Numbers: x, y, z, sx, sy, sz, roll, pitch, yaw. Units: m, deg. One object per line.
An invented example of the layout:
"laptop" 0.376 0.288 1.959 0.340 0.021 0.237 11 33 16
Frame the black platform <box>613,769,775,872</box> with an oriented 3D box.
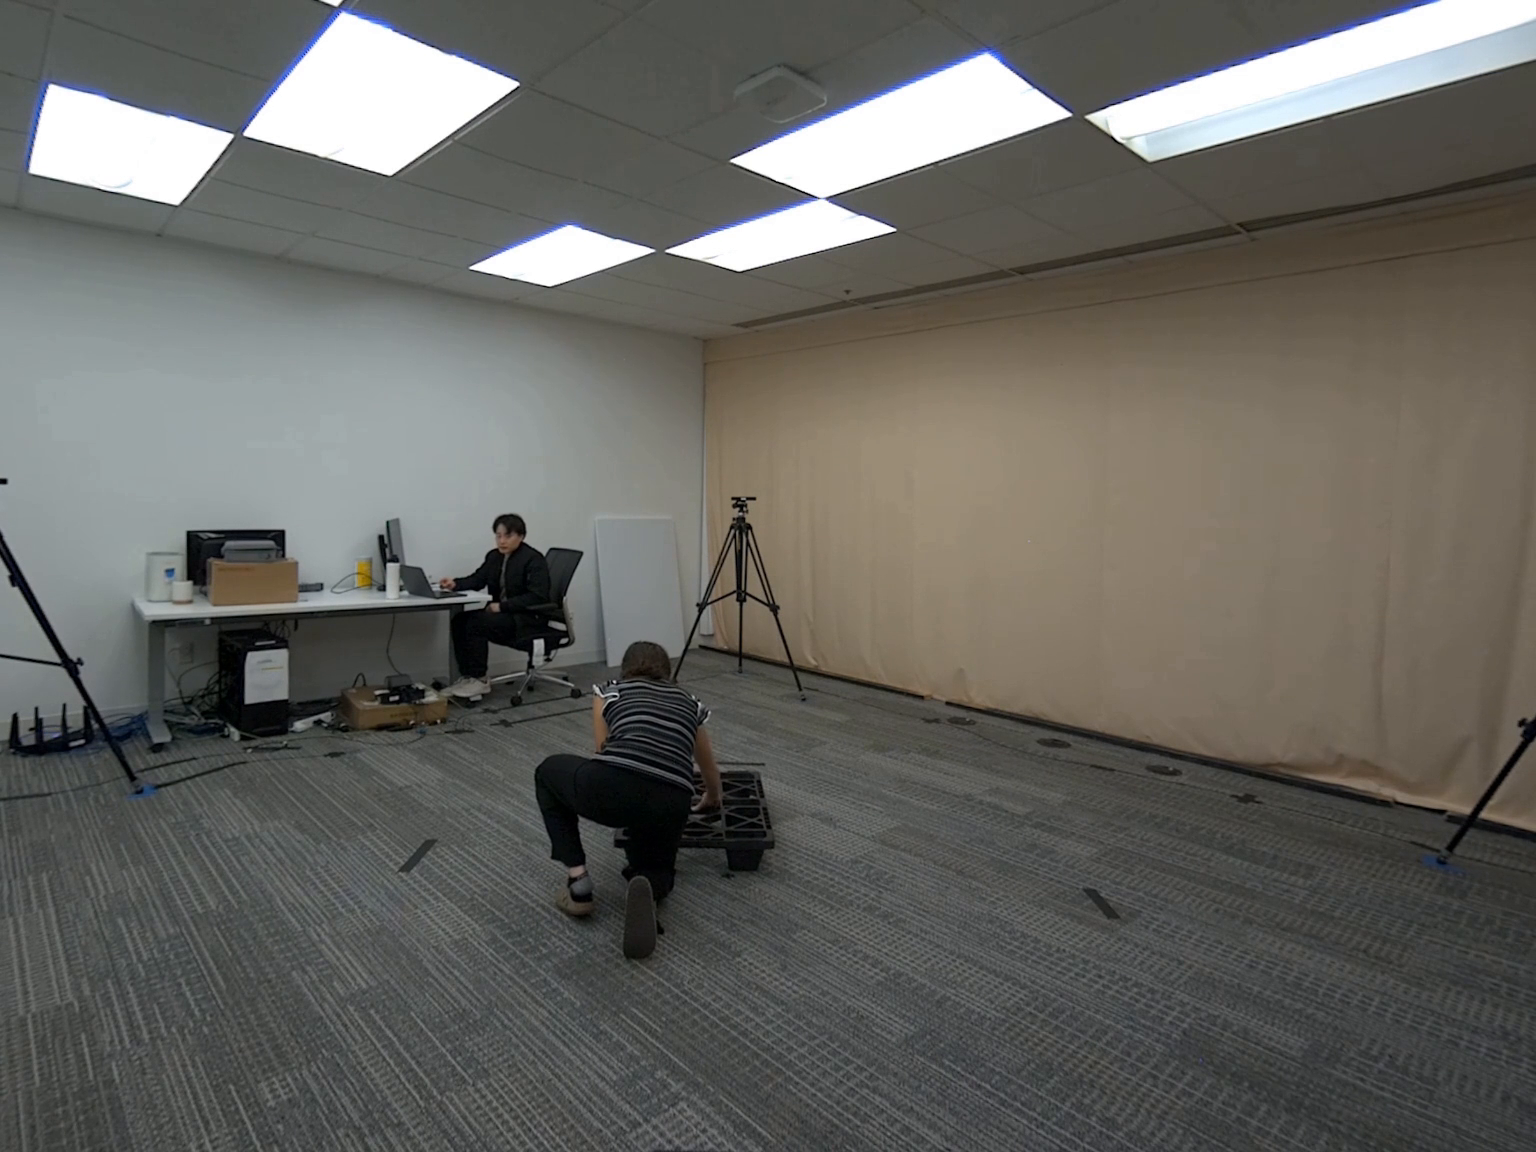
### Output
"black platform" -0.309 1.001 3.499 0.604 0.143 0.810 2 5 -4
